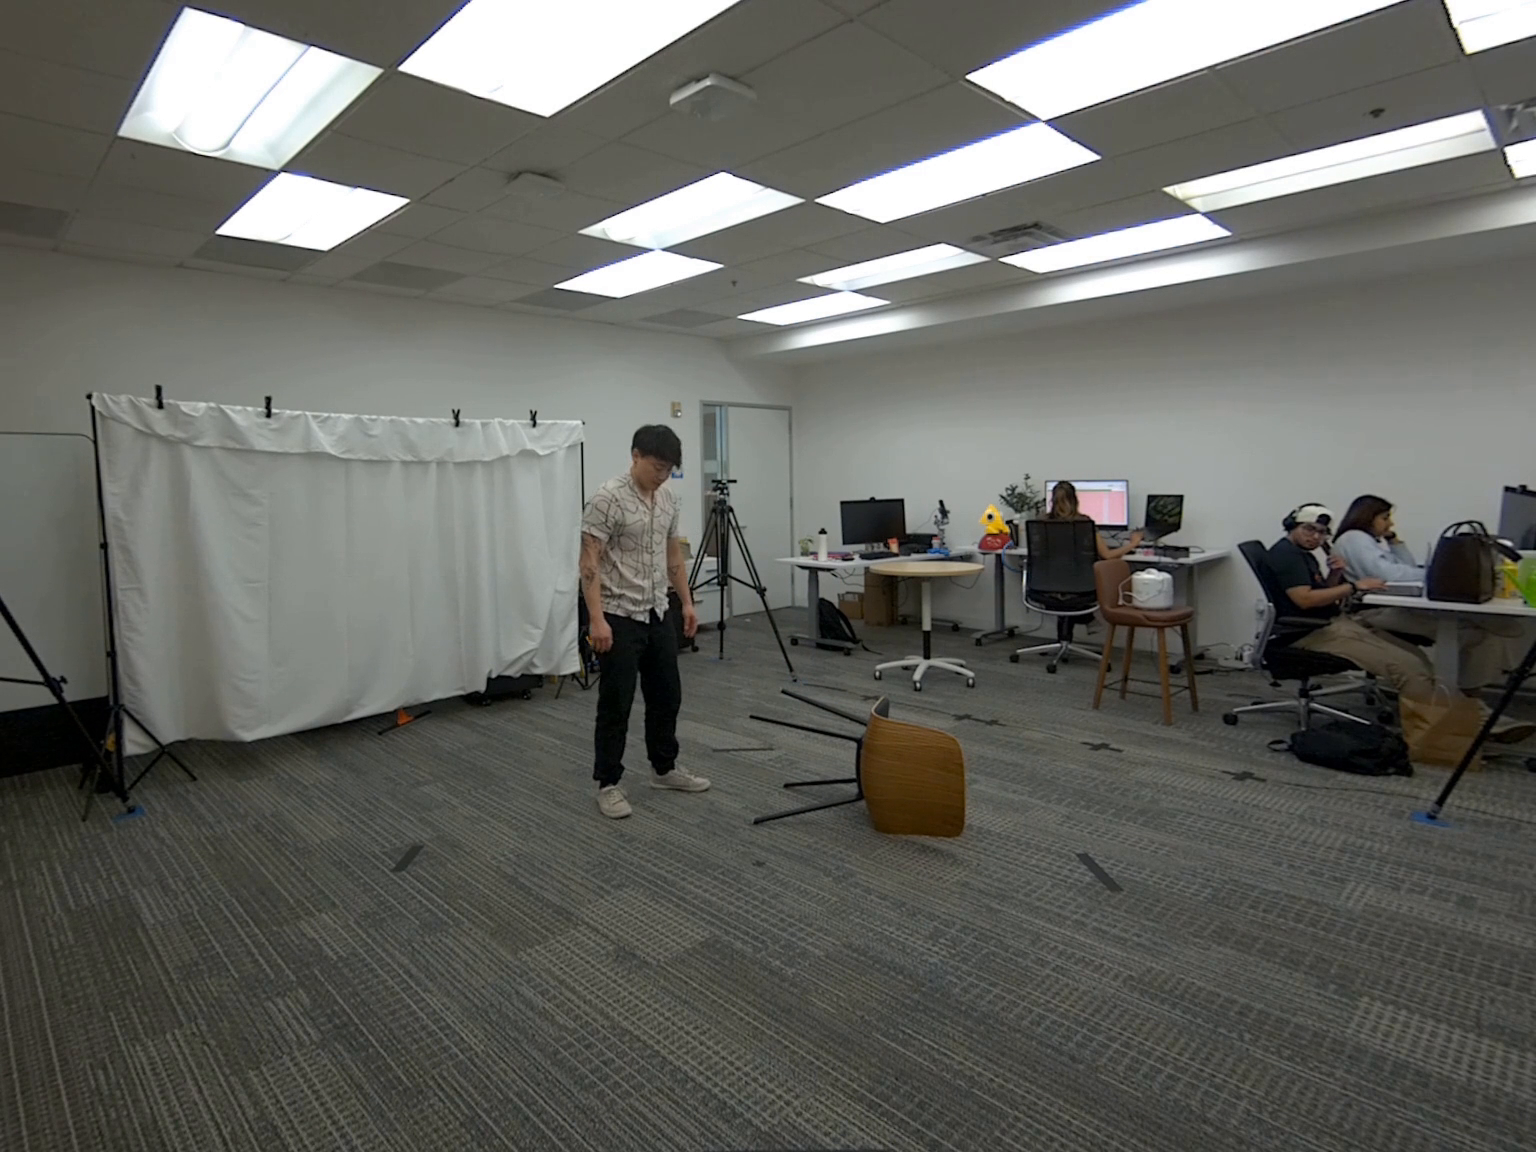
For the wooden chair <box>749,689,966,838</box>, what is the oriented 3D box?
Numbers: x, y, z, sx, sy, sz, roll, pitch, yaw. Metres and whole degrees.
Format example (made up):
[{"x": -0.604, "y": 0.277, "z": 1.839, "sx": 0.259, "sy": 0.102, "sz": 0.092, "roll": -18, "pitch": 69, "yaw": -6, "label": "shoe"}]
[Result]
[{"x": 0.412, "y": 0.765, "z": 3.523, "sx": 0.897, "sy": 0.476, "sz": 0.513, "roll": 0, "pitch": 5, "yaw": 24, "label": "wooden chair"}]
